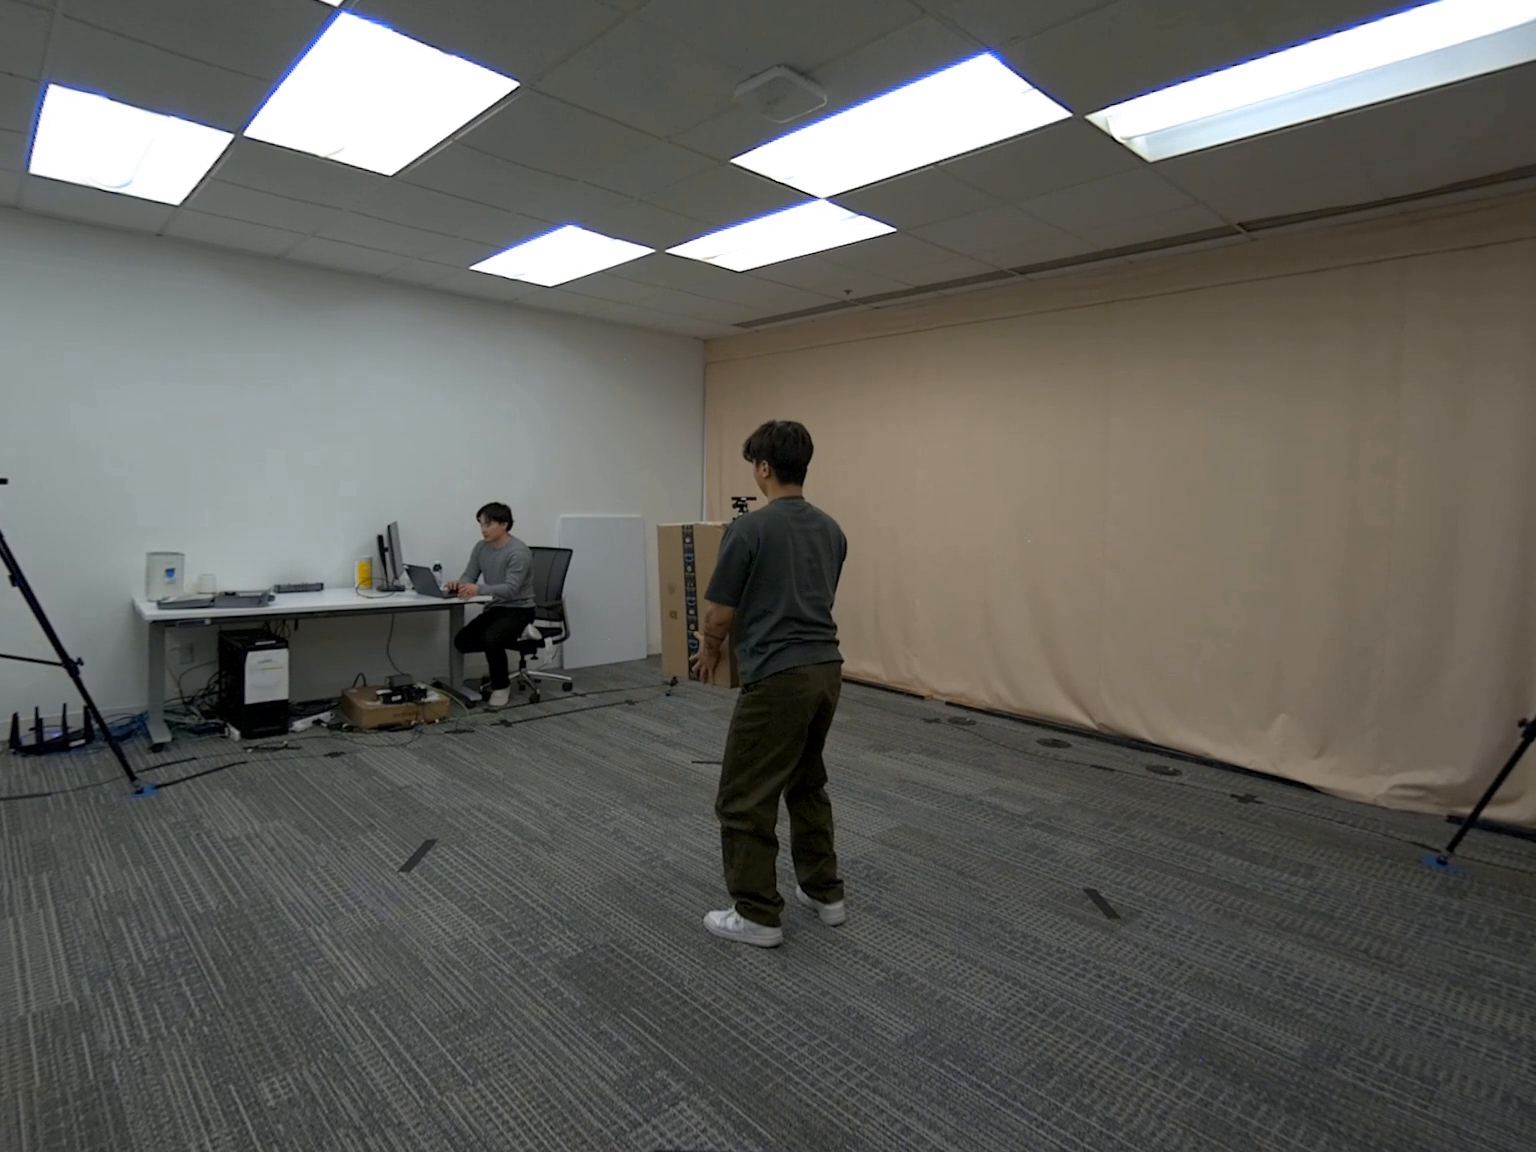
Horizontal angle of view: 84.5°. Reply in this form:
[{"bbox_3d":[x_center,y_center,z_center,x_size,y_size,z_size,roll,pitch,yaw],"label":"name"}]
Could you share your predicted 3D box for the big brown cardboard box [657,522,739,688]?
[{"bbox_3d":[-0.198,0.085,3.069,0.228,0.588,0.428,-4,4,-40],"label":"big brown cardboard box"}]
